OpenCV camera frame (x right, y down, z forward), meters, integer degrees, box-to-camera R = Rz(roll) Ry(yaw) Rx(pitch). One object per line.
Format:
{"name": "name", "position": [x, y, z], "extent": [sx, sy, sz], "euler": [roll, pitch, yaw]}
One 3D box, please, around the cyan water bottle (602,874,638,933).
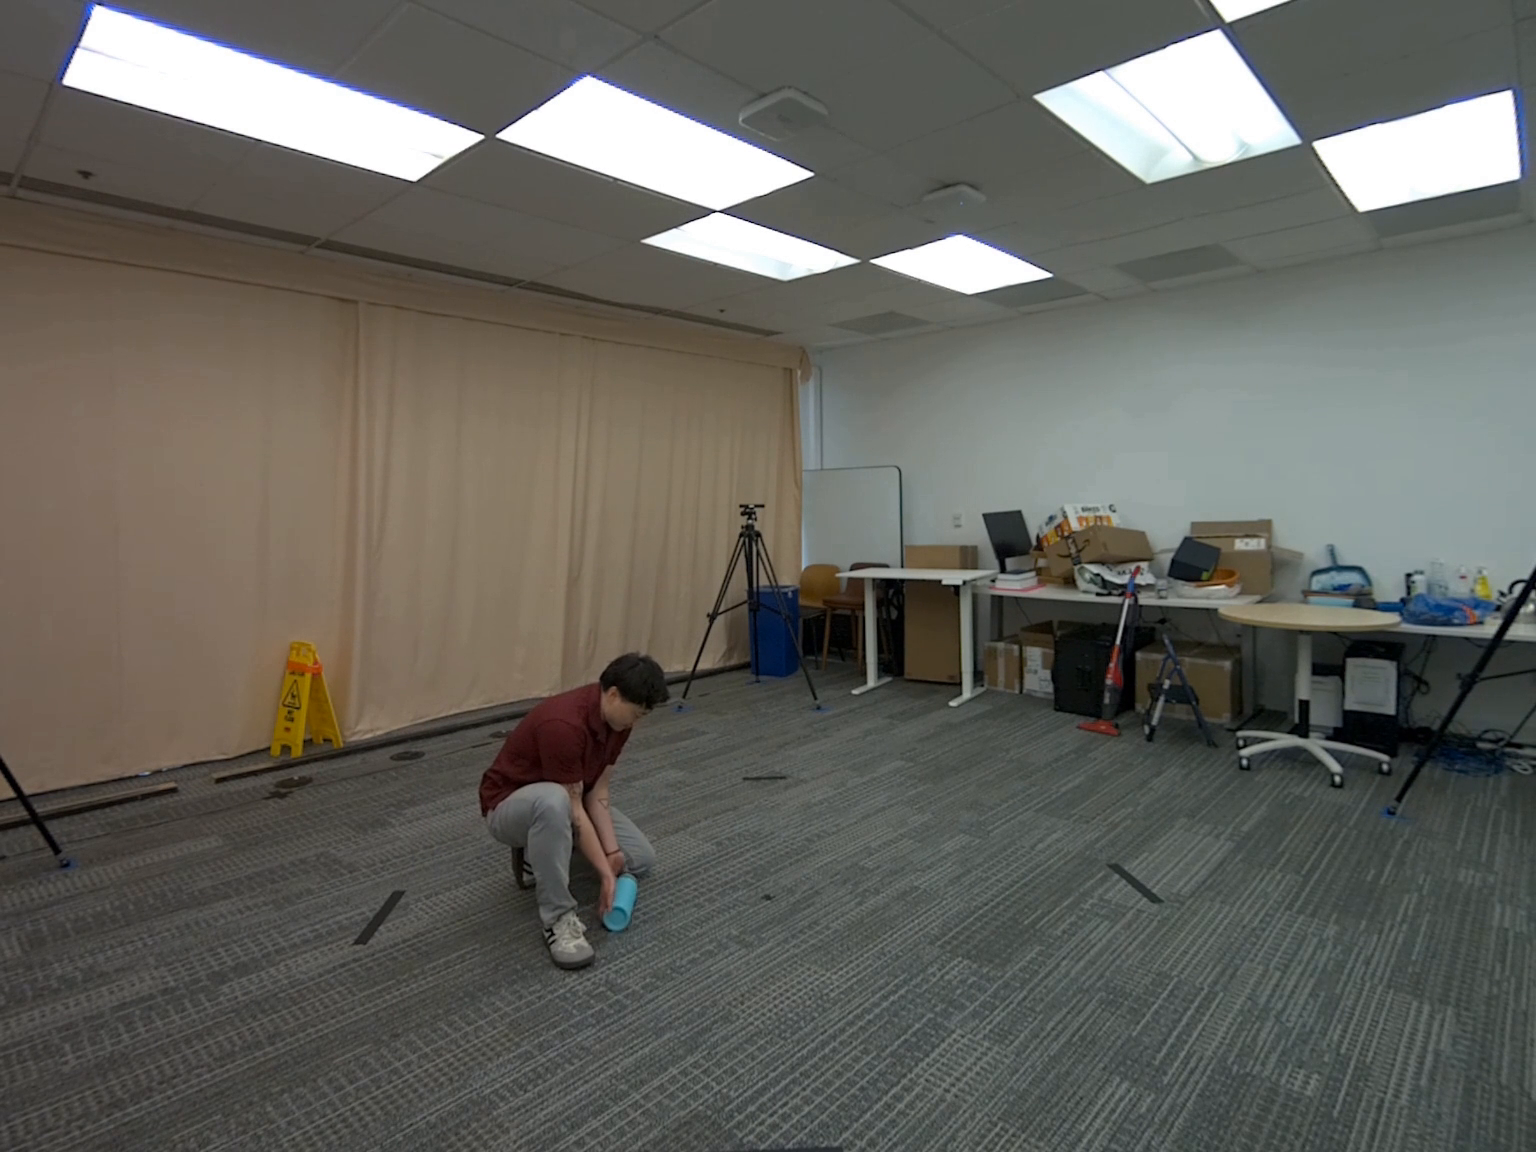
{"name": "cyan water bottle", "position": [-0.489, 1.114, 2.892], "extent": [0.092, 0.092, 0.283], "euler": [-1, 3, -1]}
